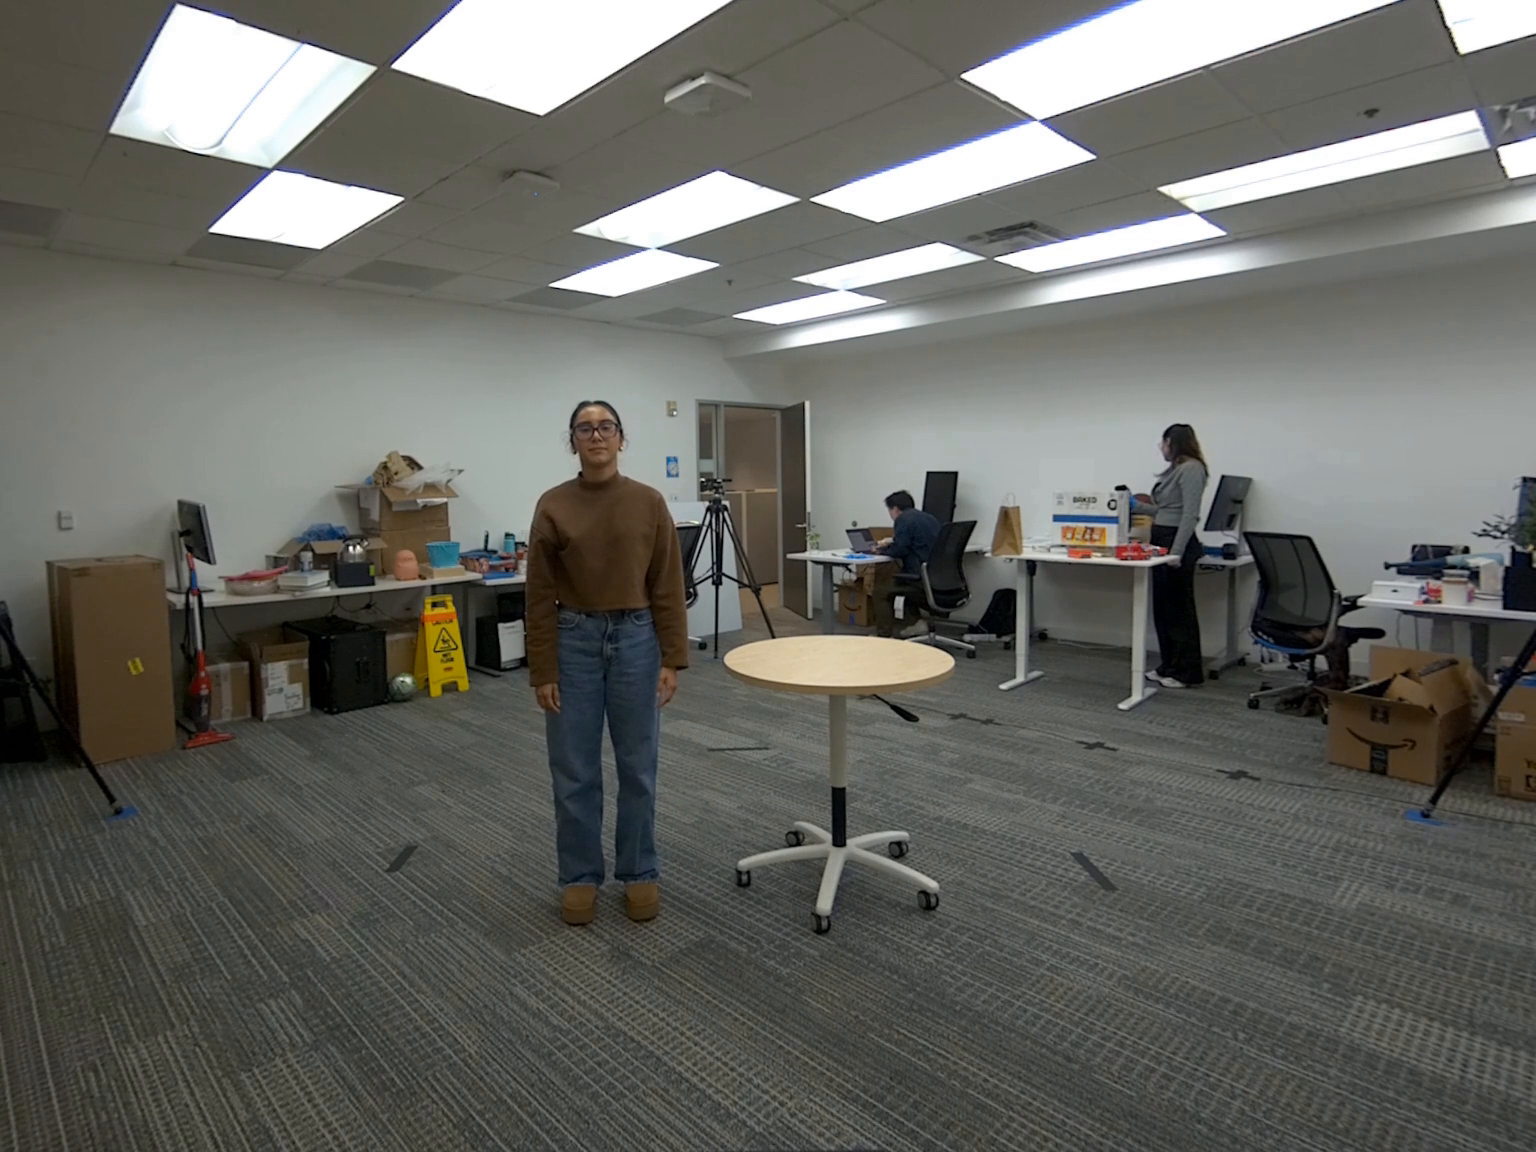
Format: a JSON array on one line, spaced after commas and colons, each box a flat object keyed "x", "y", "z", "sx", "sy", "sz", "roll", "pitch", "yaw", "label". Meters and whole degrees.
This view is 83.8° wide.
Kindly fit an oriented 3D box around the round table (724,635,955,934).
[{"x": 0.245, "y": 0.672, "z": 2.906, "sx": 0.763, "sy": 0.790, "sz": 0.768, "roll": -1, "pitch": 5, "yaw": -2, "label": "round table"}]
